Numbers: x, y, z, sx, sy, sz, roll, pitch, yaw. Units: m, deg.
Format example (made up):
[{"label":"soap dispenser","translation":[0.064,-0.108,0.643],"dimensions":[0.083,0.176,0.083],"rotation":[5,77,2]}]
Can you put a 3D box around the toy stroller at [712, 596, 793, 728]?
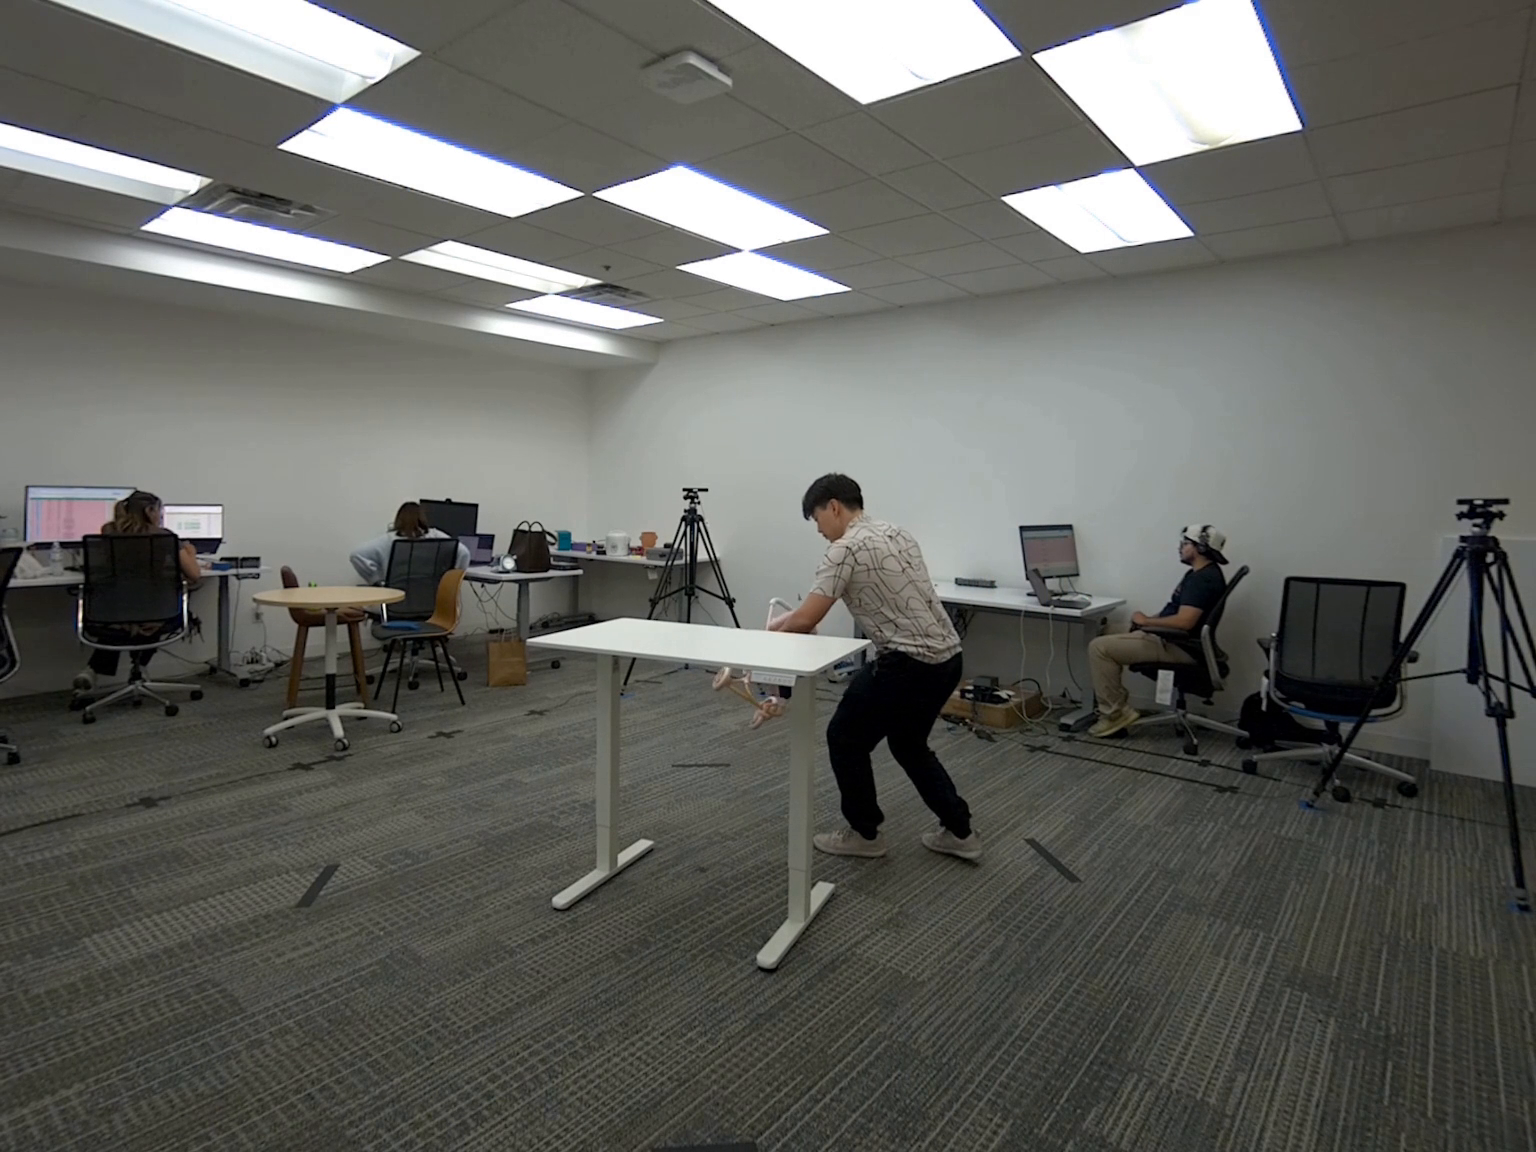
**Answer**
[{"label":"toy stroller","translation":[0.014,0.358,3.440],"dimensions":[0.276,0.537,0.346],"rotation":[34,-13,-14]}]
